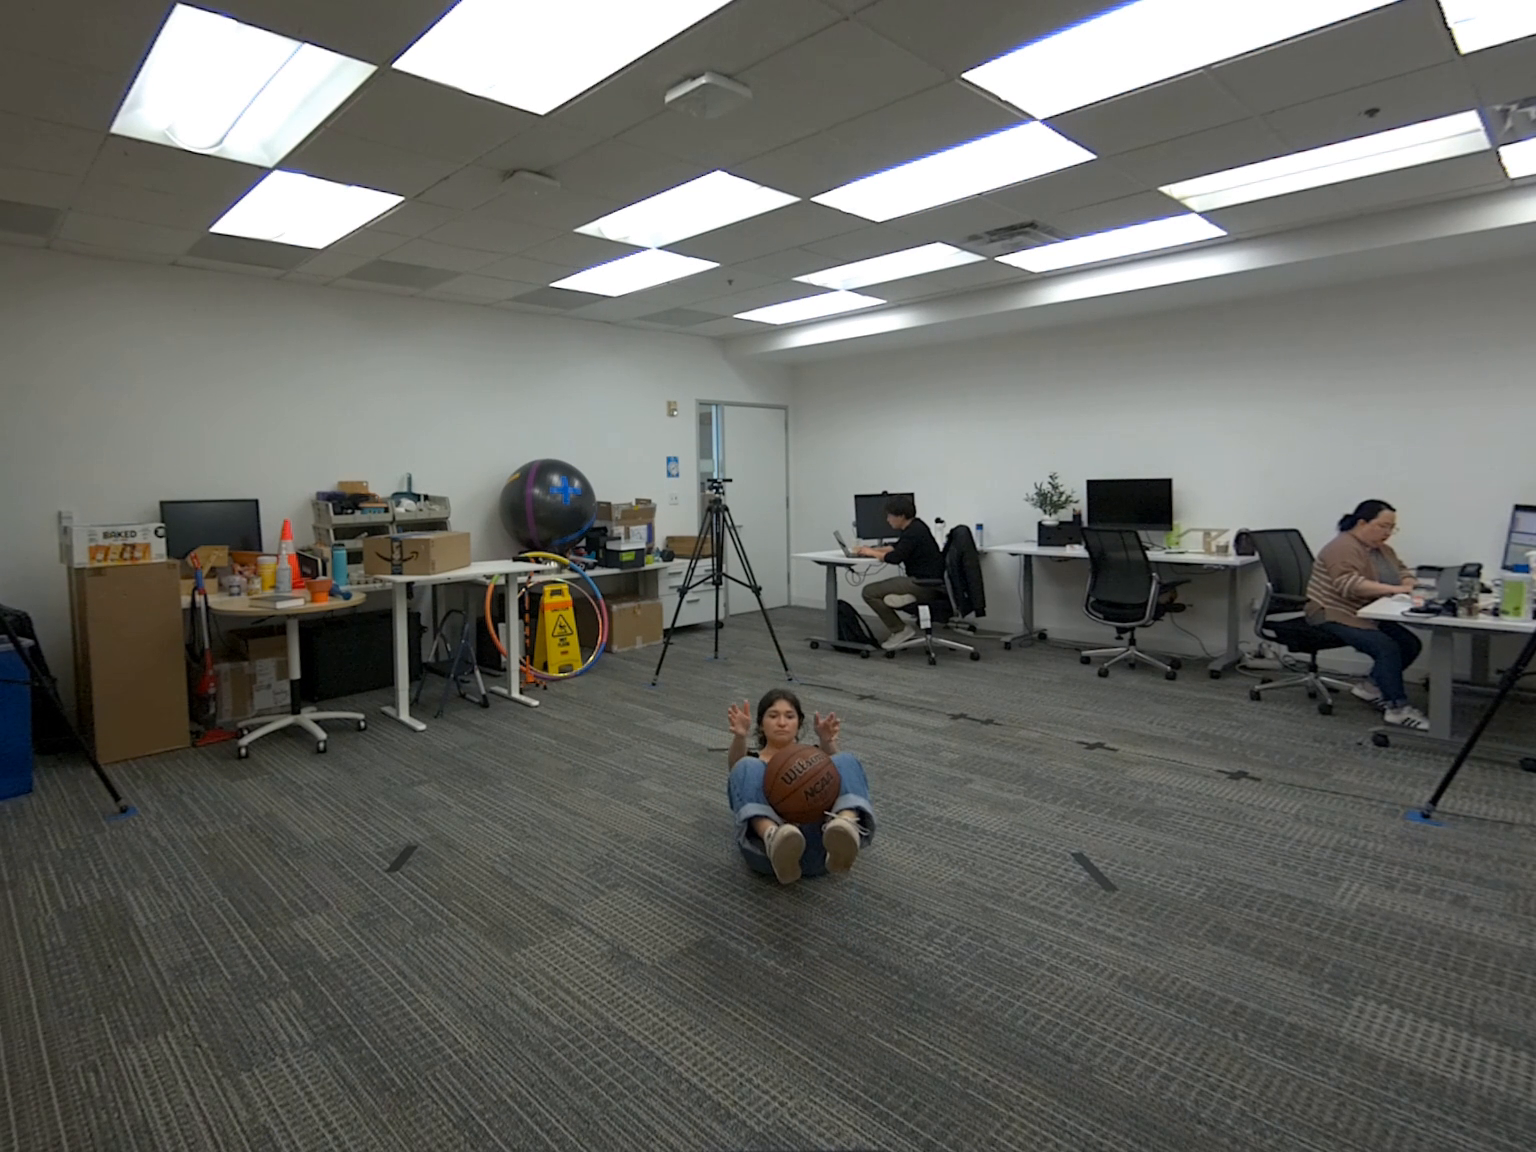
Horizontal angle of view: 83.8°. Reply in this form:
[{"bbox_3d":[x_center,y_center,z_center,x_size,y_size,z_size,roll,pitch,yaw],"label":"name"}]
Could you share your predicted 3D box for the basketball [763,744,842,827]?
[{"bbox_3d":[0.107,0.642,2.641,0.236,0.235,0.237,-1,5,-2],"label":"basketball"}]
